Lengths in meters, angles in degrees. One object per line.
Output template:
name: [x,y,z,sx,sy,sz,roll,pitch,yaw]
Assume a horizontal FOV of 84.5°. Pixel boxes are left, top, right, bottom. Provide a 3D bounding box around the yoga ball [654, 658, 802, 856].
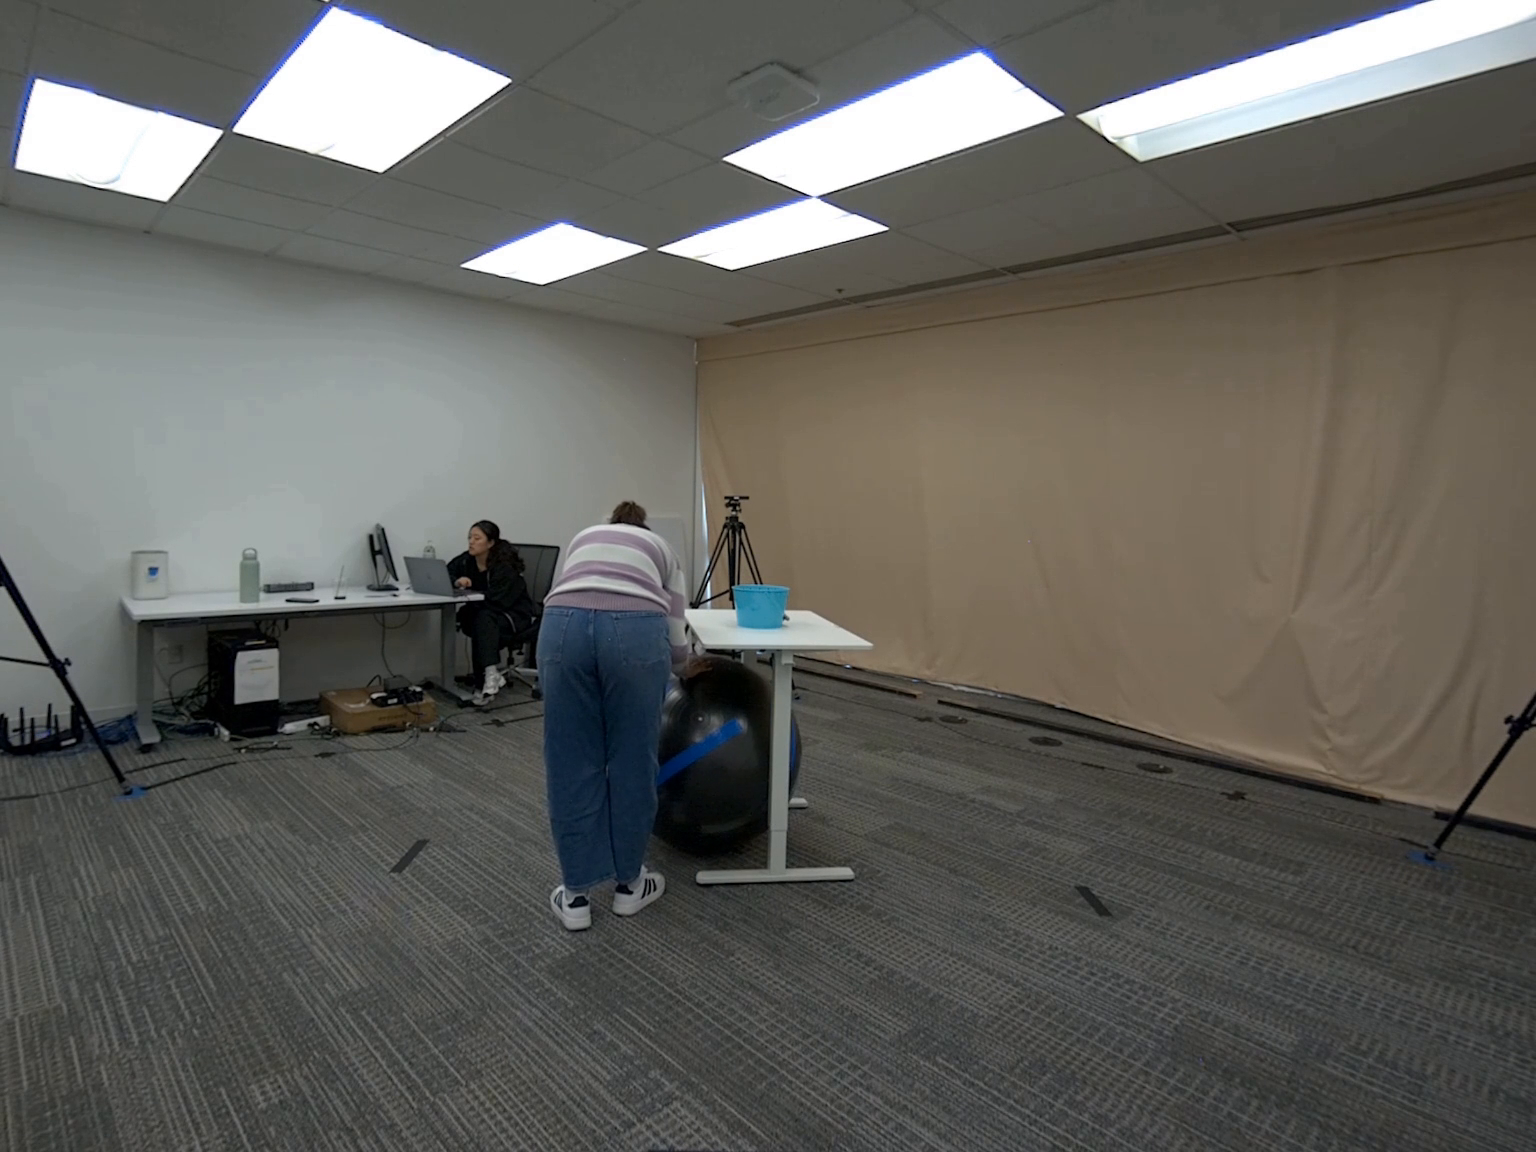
yoga ball: [-0.248,0.711,3.383,0.757,0.756,0.761,1,4,-1]
